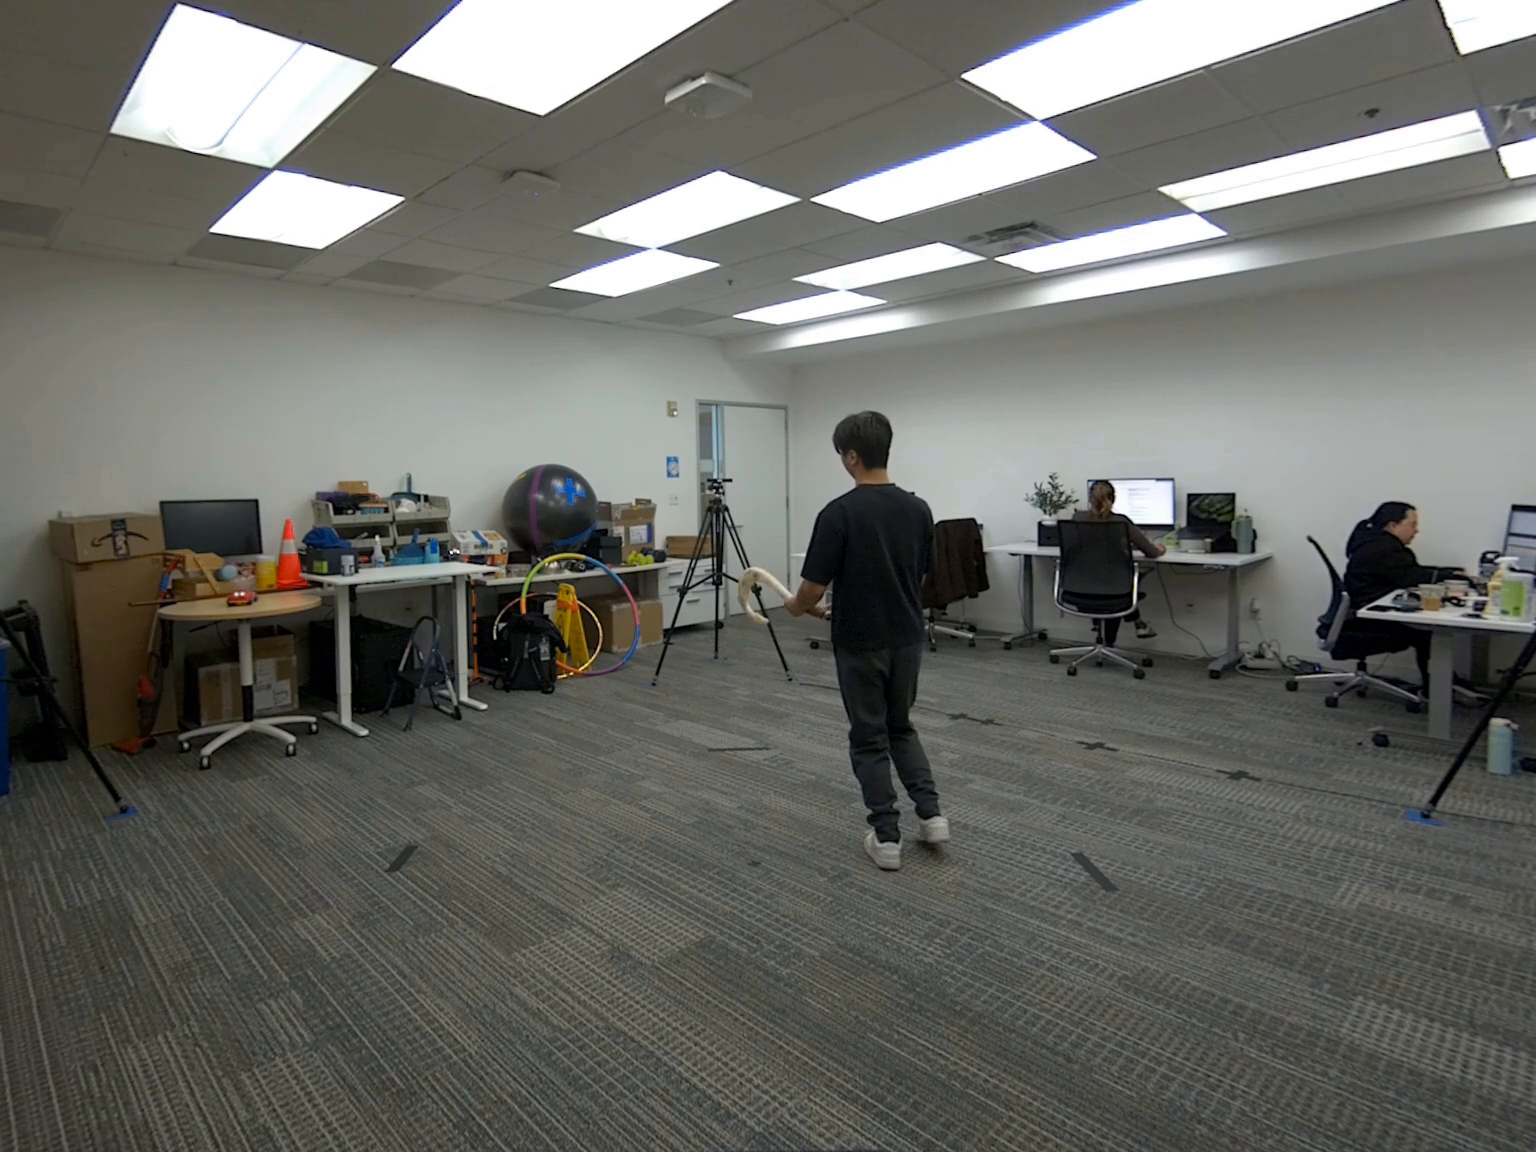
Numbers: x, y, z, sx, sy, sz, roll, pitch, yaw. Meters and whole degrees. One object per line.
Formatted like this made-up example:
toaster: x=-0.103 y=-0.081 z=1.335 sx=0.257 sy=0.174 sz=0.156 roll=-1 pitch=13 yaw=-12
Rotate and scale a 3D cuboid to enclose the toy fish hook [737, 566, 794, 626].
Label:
toy fish hook: x=0.056 y=0.136 z=3.419 sx=0.047 sy=0.221 sz=0.526 roll=-9 pitch=25 yaw=-41
